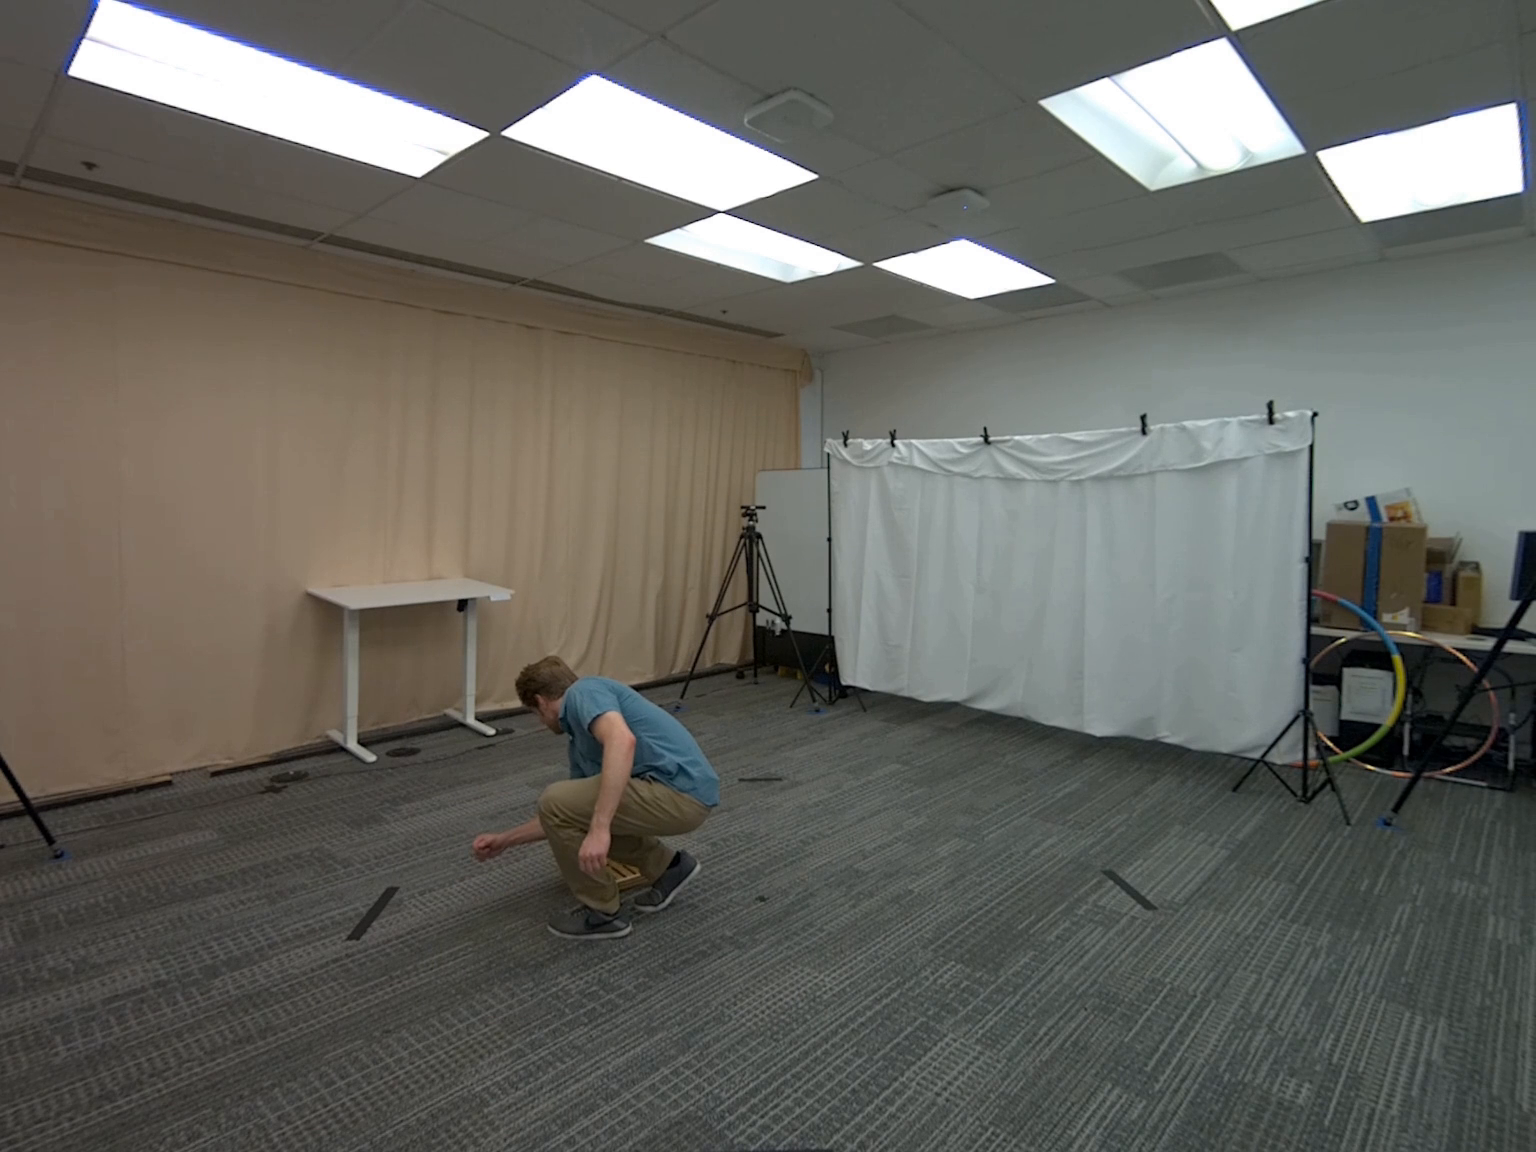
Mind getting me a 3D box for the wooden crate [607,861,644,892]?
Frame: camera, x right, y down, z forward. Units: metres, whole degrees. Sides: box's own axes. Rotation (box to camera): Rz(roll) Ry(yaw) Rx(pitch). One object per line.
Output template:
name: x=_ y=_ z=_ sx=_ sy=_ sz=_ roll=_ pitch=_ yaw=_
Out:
wooden crate: x=-0.556 y=0.996 z=3.190 sx=0.315 sy=0.273 sz=0.311 roll=-3 pitch=4 yaw=-37
